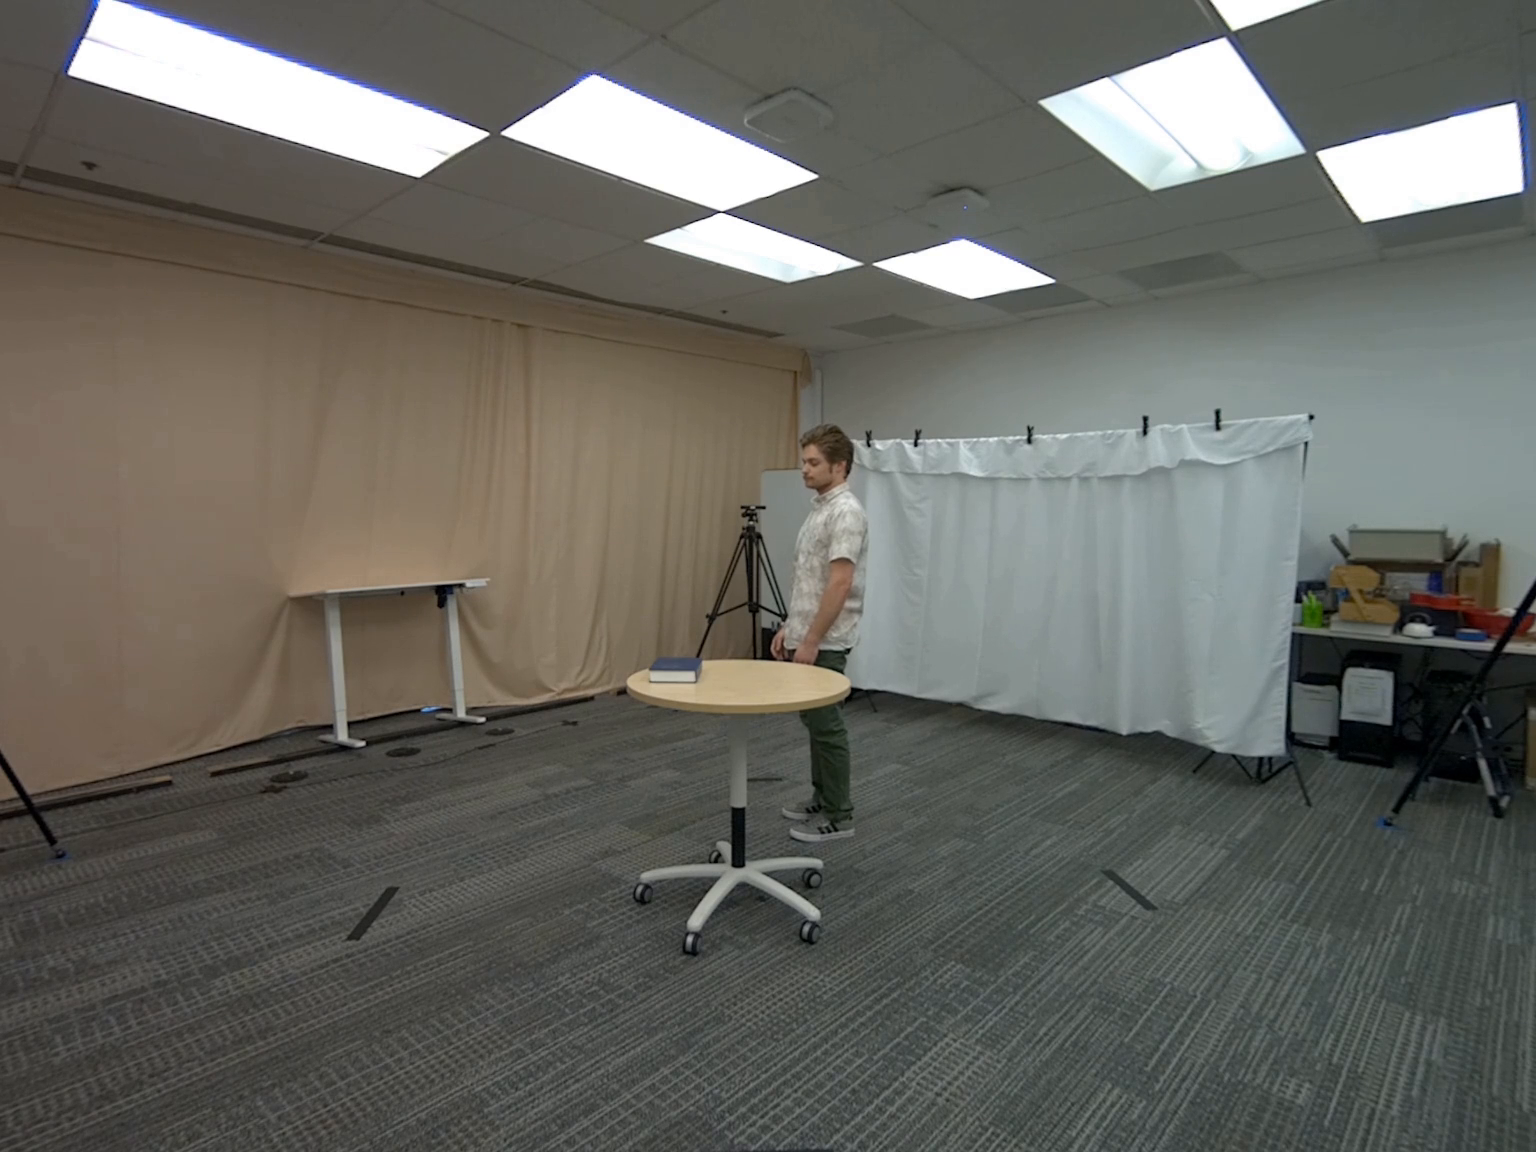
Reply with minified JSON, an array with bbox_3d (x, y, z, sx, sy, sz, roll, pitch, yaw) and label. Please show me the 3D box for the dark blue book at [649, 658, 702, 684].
[{"bbox_3d":[-0.327,0.327,2.969,0.164,0.045,0.245,0,5,2],"label":"dark blue book"}]
